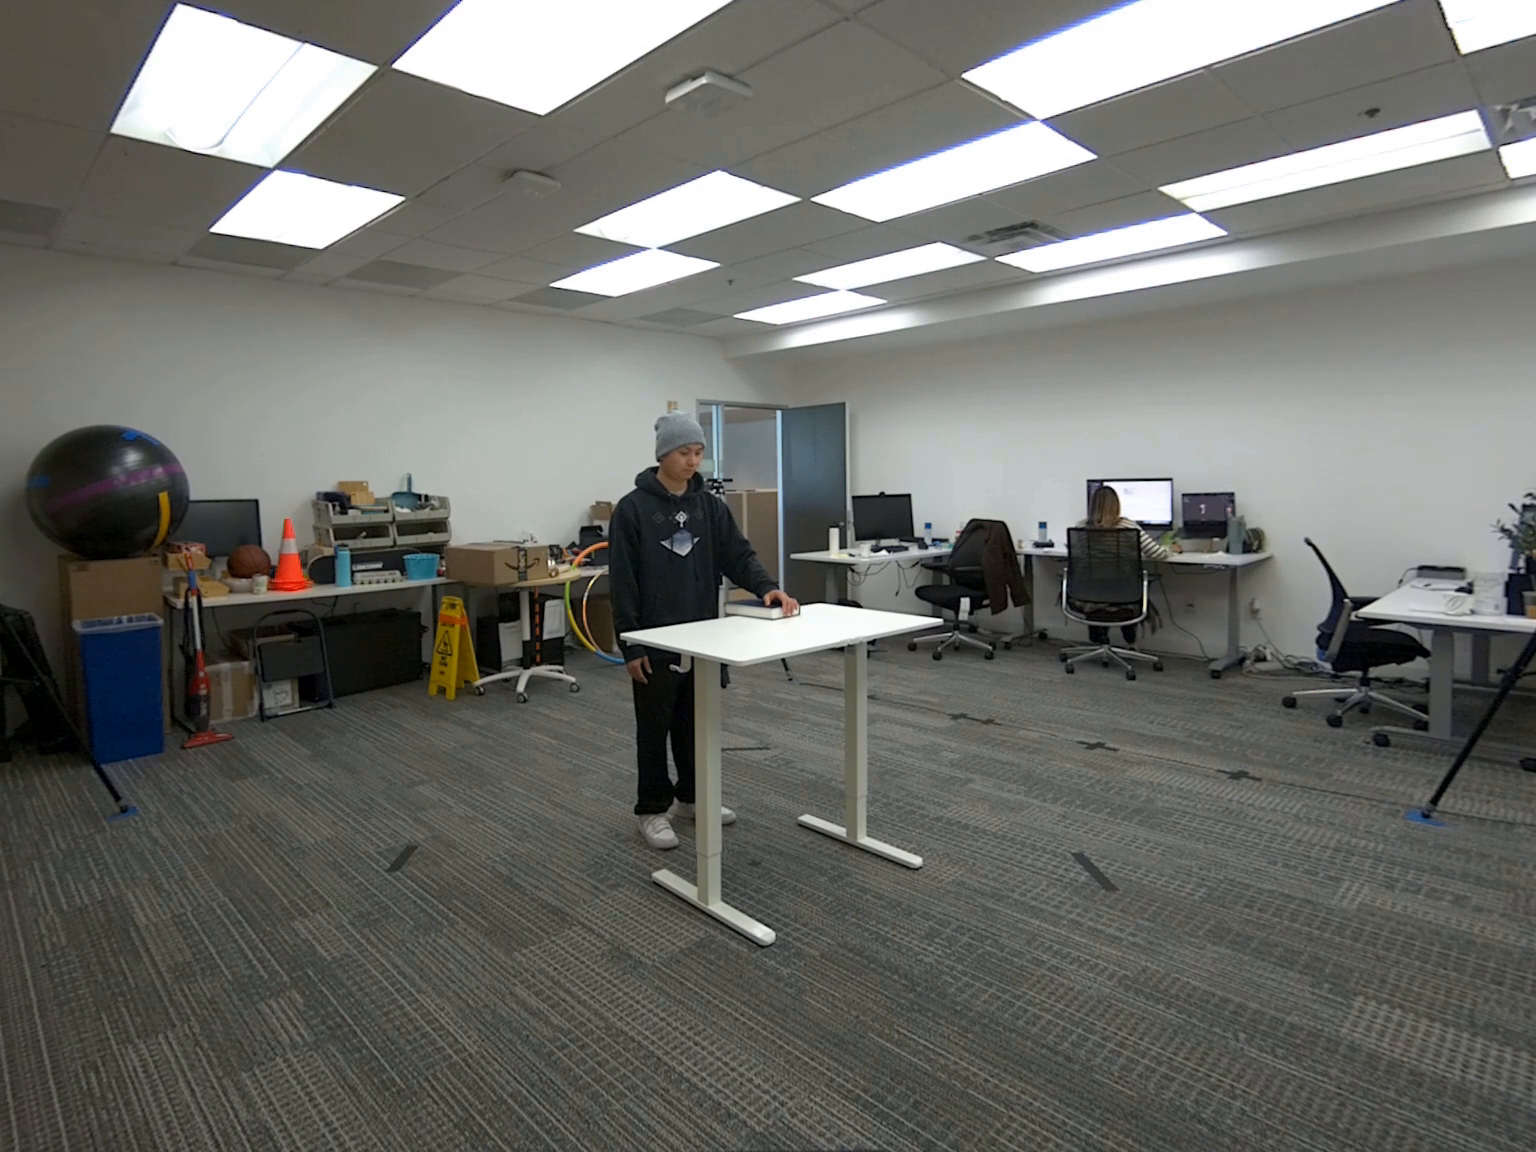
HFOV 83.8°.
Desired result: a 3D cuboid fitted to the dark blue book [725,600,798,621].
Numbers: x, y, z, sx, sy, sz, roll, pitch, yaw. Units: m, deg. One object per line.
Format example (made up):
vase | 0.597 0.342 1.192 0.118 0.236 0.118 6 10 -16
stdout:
dark blue book | -0.033 0.126 3.246 0.253 0.045 0.159 6 7 39
